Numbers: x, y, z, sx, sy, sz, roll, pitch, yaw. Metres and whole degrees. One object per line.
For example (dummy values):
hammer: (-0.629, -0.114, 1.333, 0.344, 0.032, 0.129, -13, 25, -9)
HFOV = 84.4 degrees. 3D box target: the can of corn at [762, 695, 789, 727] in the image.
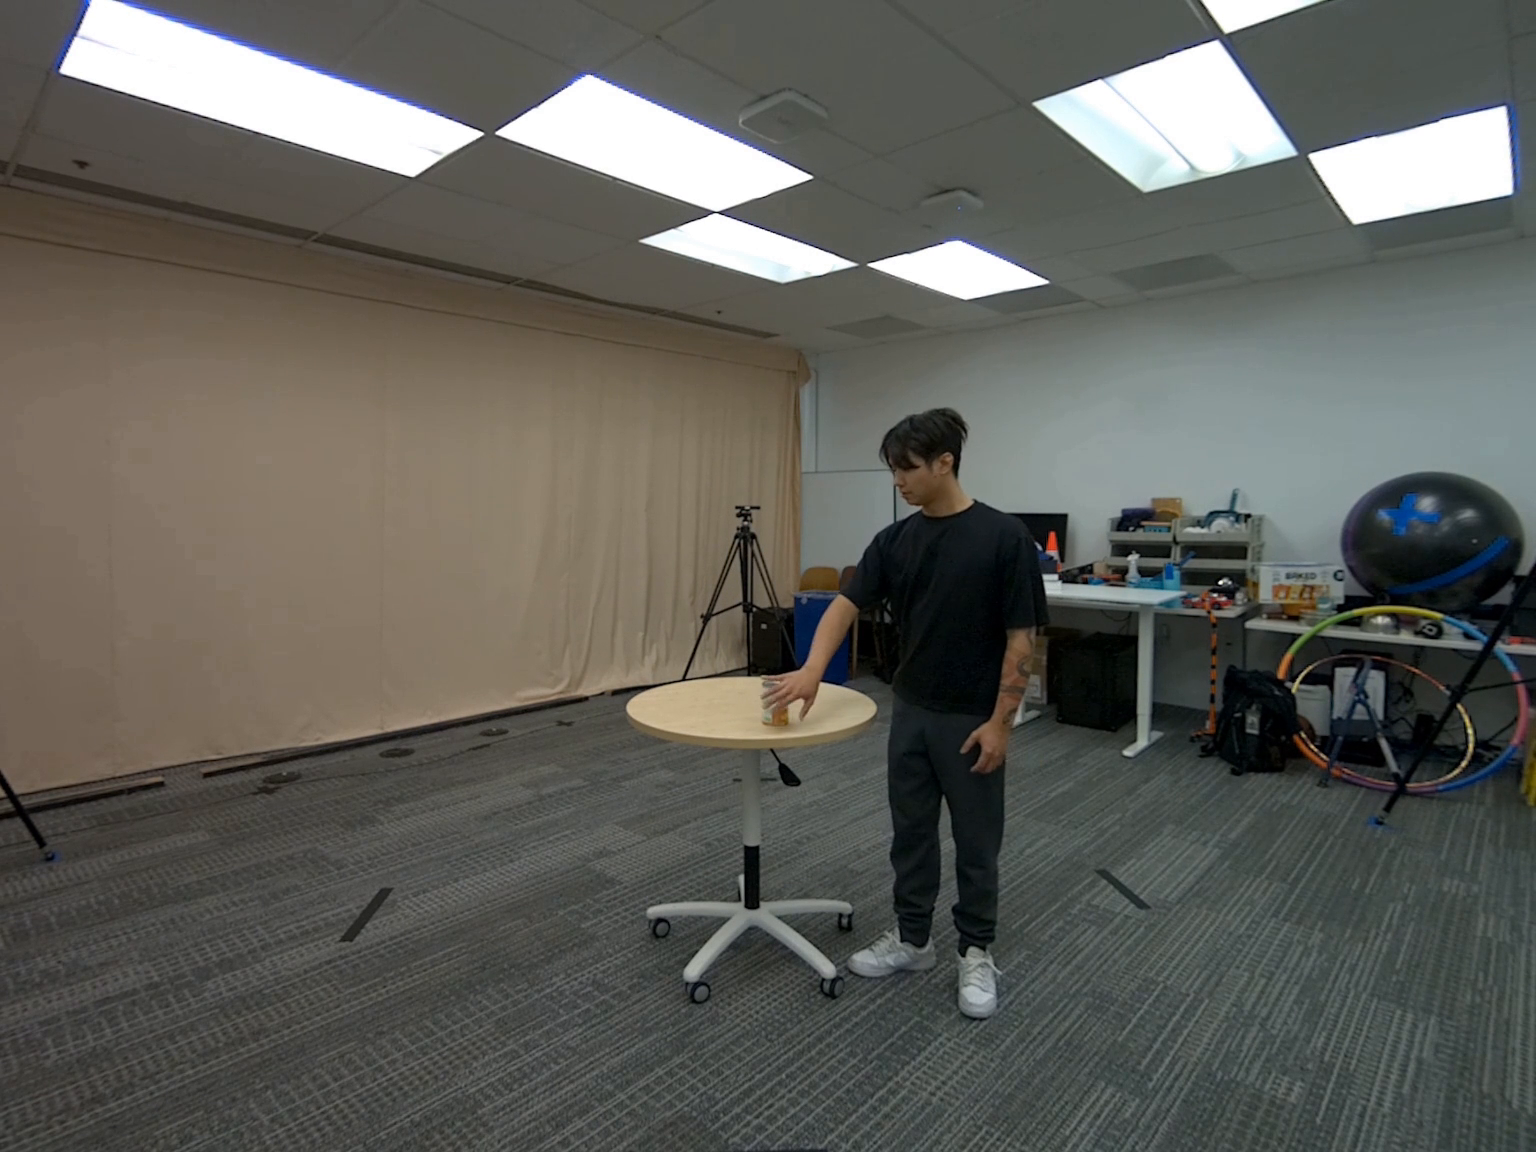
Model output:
can of corn: (0.031, 0.363, 2.365, 0.074, 0.111, 0.074, 0, 5, -2)
